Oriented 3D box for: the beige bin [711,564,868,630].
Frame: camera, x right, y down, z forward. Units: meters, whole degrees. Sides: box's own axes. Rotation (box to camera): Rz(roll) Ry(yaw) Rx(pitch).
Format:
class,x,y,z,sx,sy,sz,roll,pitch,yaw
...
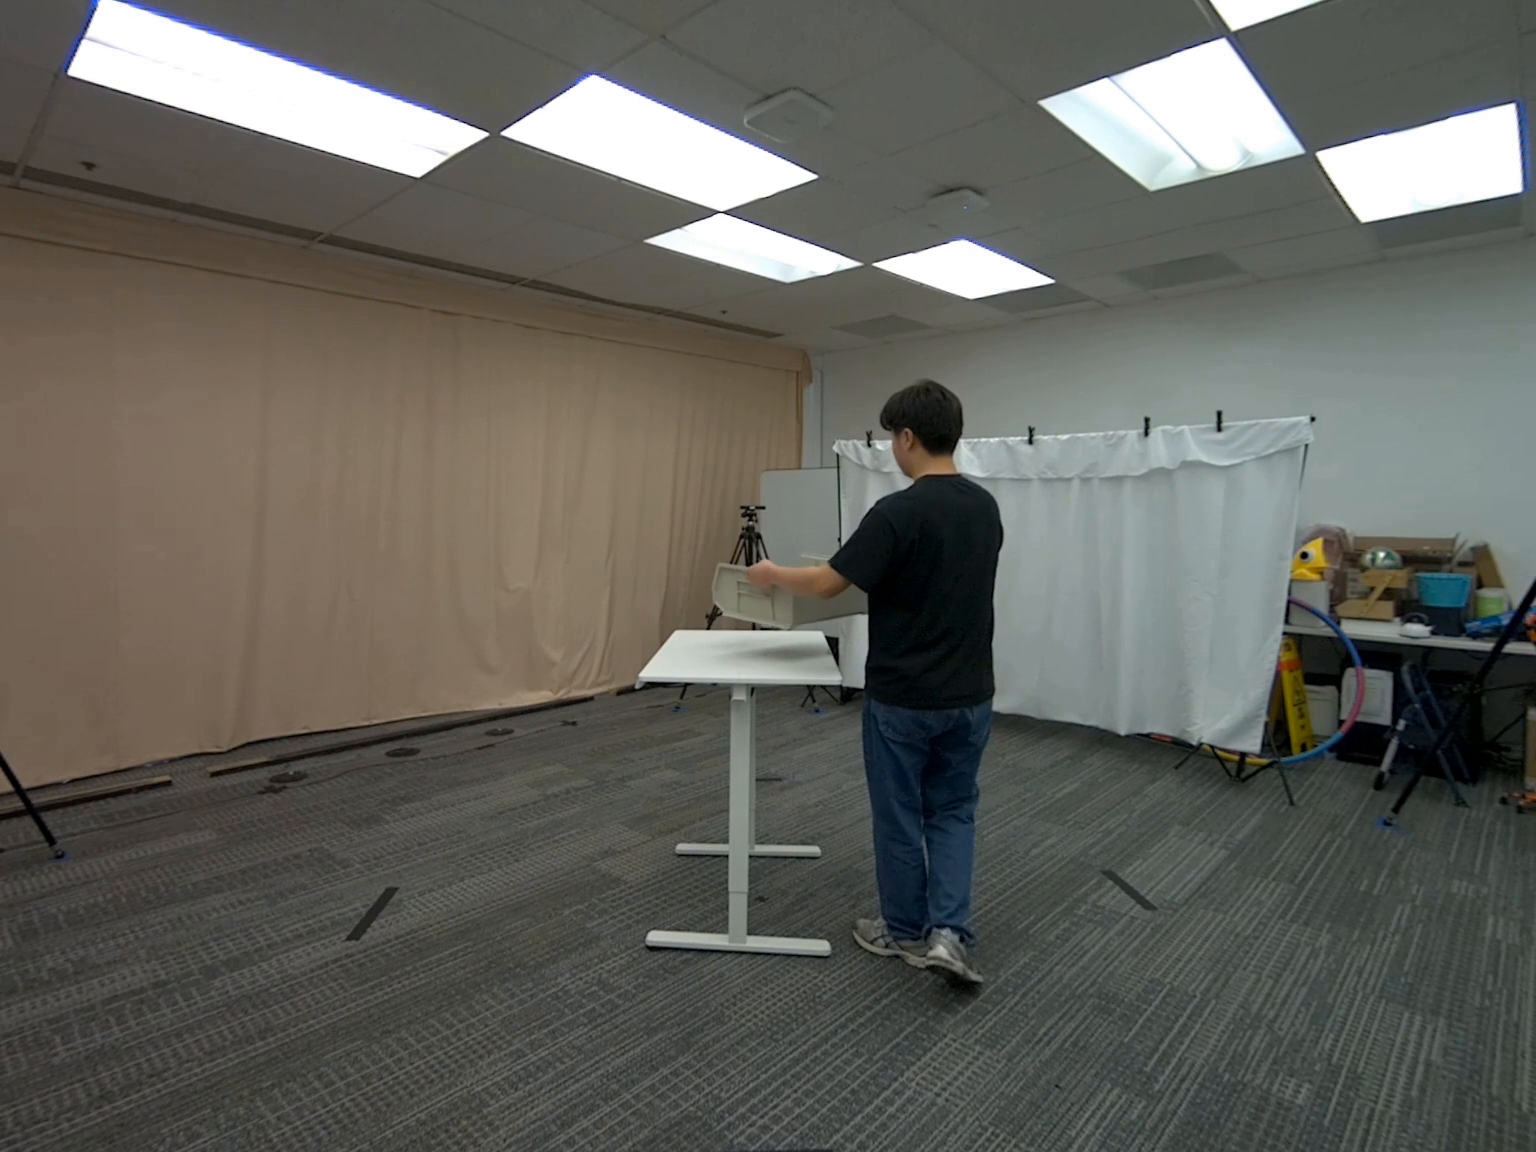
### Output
class,x,y,z,sx,sy,sz,roll,pitch,yaw
beige bin,0.087,0.047,2.901,0.409,0.188,0.391,-6,12,-43
